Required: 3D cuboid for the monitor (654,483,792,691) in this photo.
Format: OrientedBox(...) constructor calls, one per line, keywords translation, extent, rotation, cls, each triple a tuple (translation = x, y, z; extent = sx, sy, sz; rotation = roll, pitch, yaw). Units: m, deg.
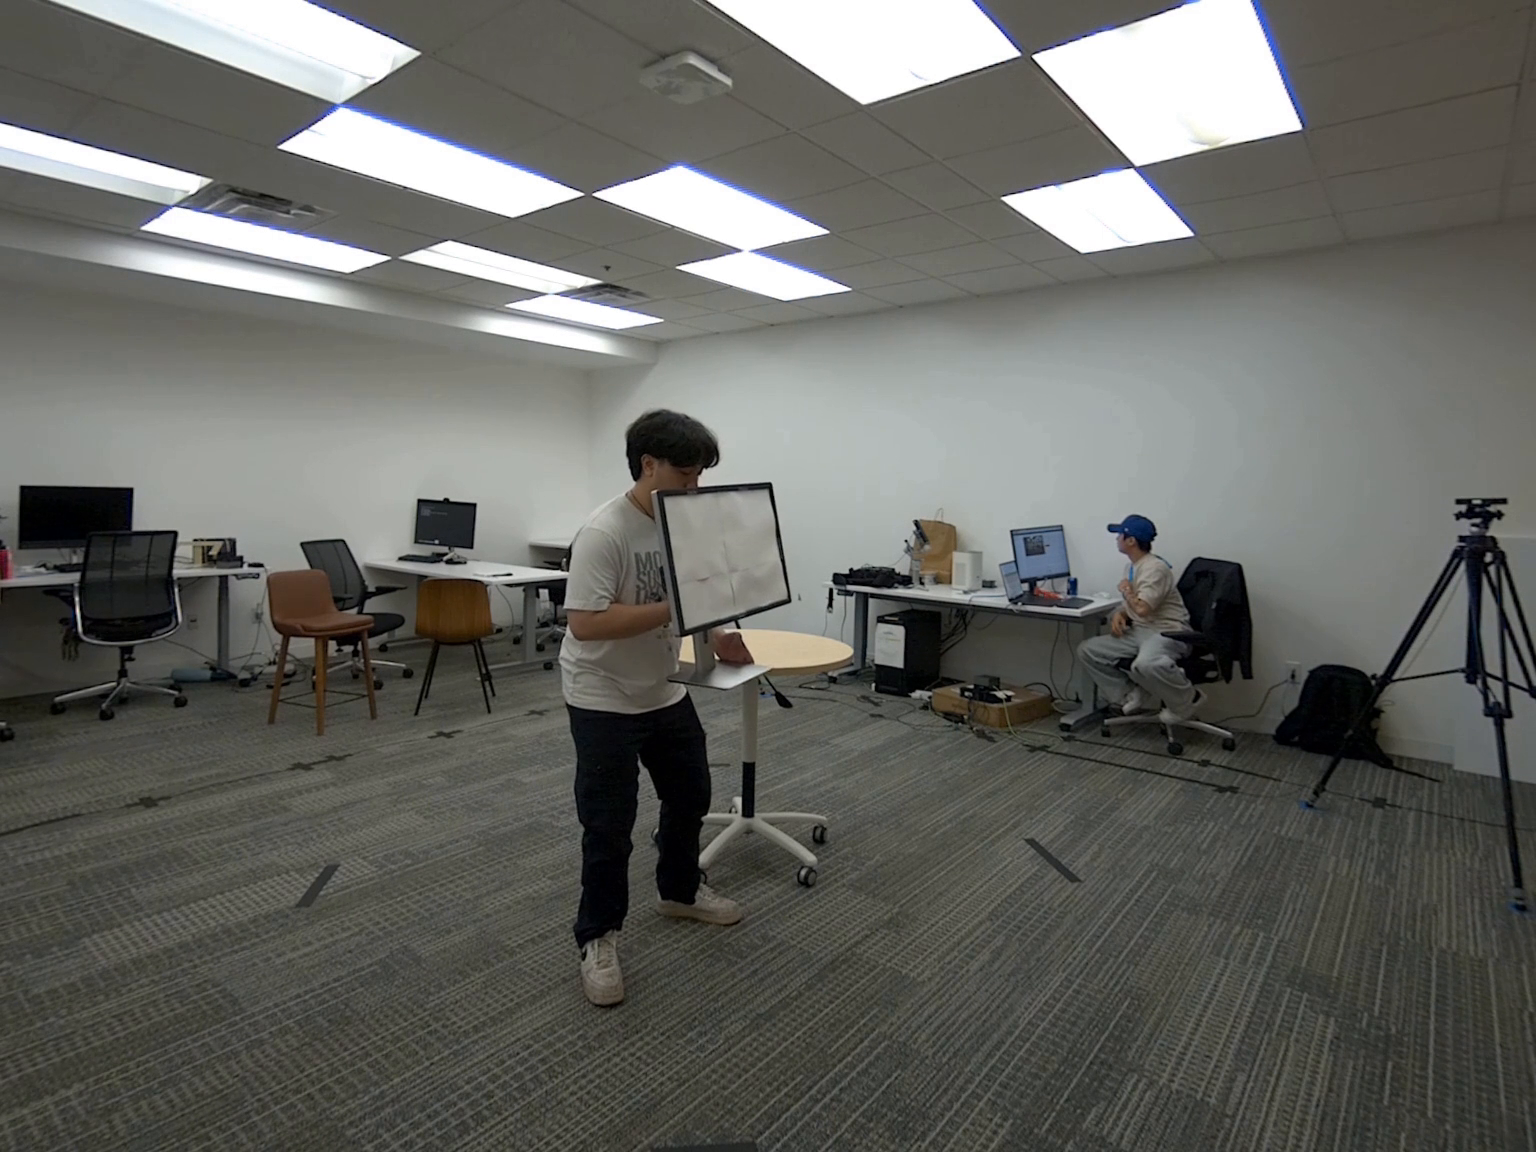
OrientedBox(translation=(-0.171, 0.025, 2.336), extent=(0.216, 0.552, 0.552), rotation=(-1, 6, 32), cls="monitor")
